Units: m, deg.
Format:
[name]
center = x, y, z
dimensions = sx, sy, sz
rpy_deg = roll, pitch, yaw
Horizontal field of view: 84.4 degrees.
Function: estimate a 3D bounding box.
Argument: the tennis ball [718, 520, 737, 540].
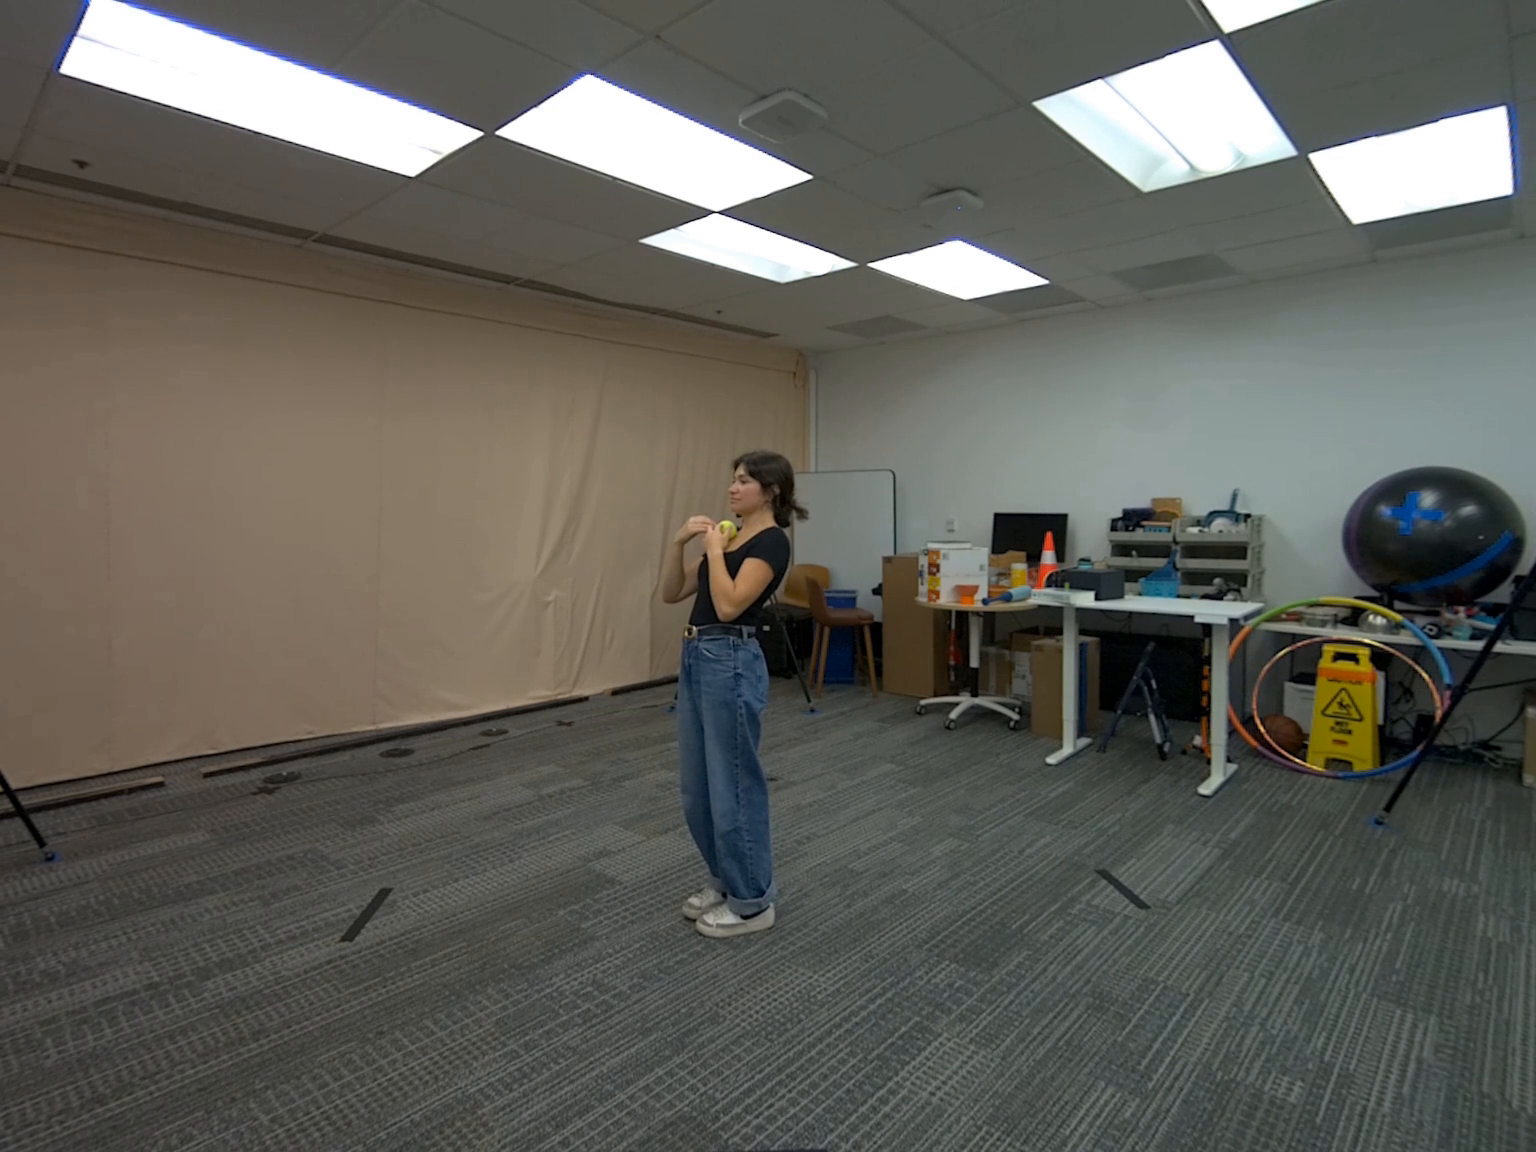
[tennis ball]
center = -0.137, -0.152, 2.779
dimensions = 0.066, 0.066, 0.067
rpy_deg = 0, 4, -2
